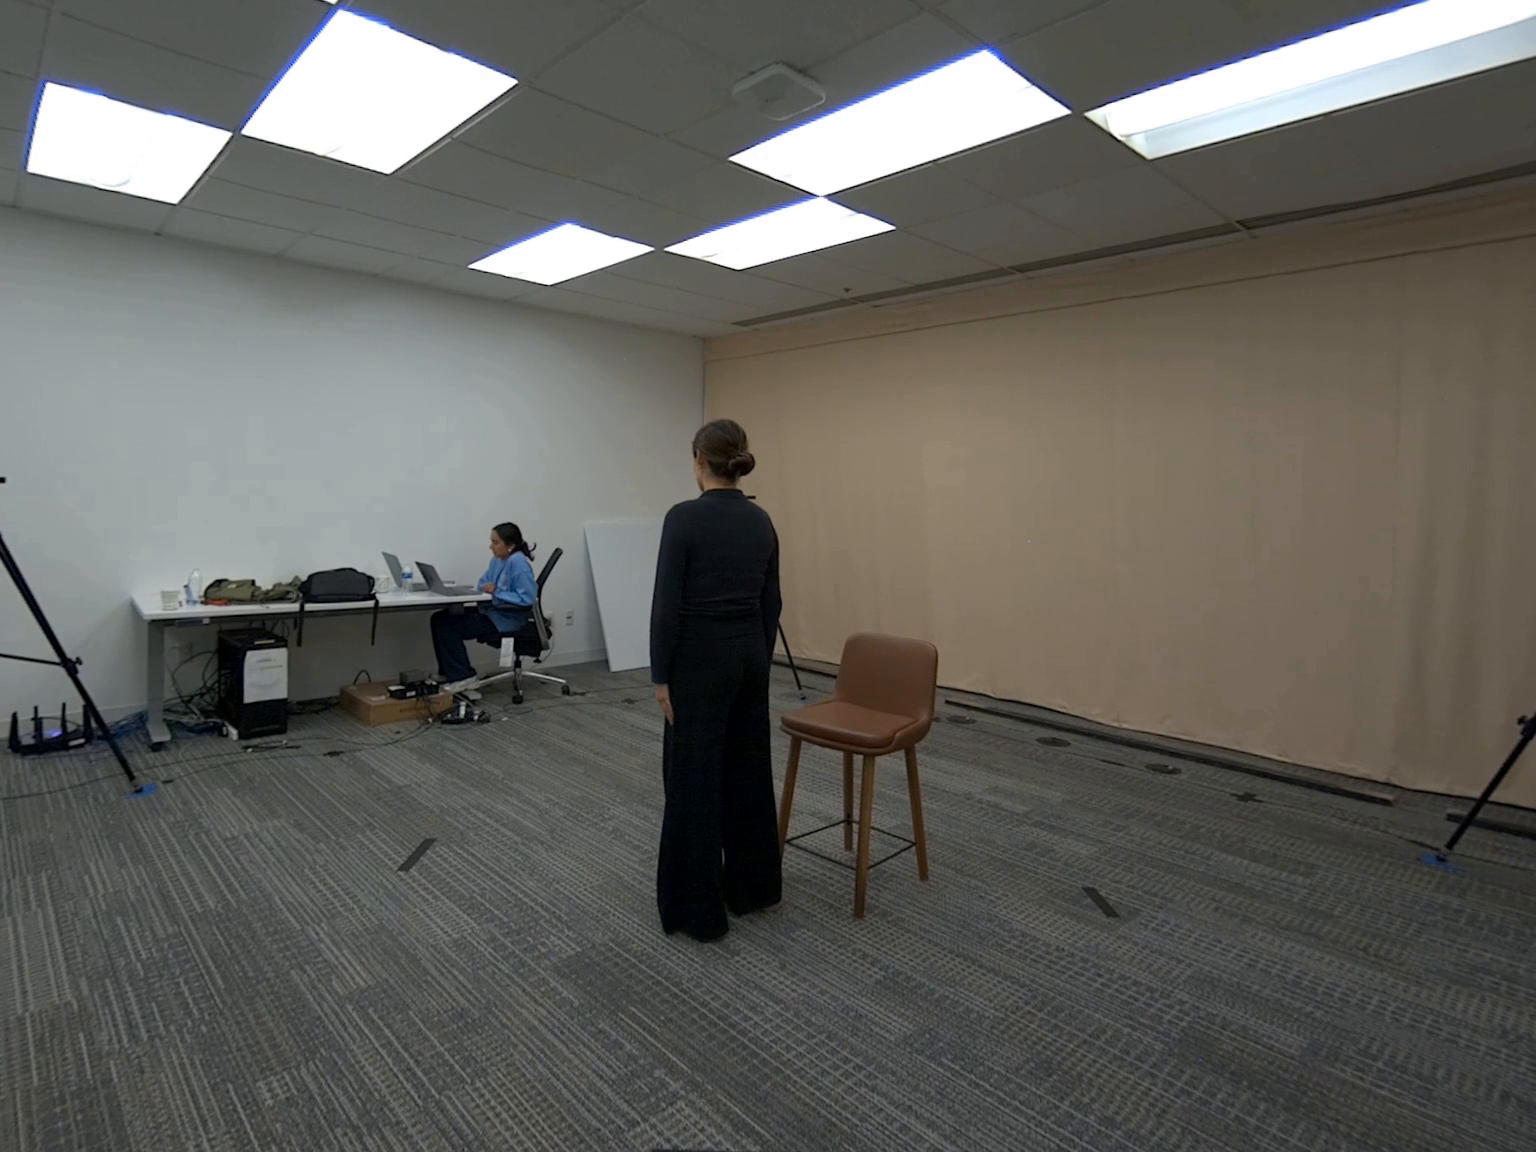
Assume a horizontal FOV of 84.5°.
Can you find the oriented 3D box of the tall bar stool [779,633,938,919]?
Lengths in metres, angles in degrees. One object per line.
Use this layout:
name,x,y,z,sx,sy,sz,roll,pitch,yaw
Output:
tall bar stool,0.322,0.681,3.066,0.468,0.889,0.456,5,3,44
